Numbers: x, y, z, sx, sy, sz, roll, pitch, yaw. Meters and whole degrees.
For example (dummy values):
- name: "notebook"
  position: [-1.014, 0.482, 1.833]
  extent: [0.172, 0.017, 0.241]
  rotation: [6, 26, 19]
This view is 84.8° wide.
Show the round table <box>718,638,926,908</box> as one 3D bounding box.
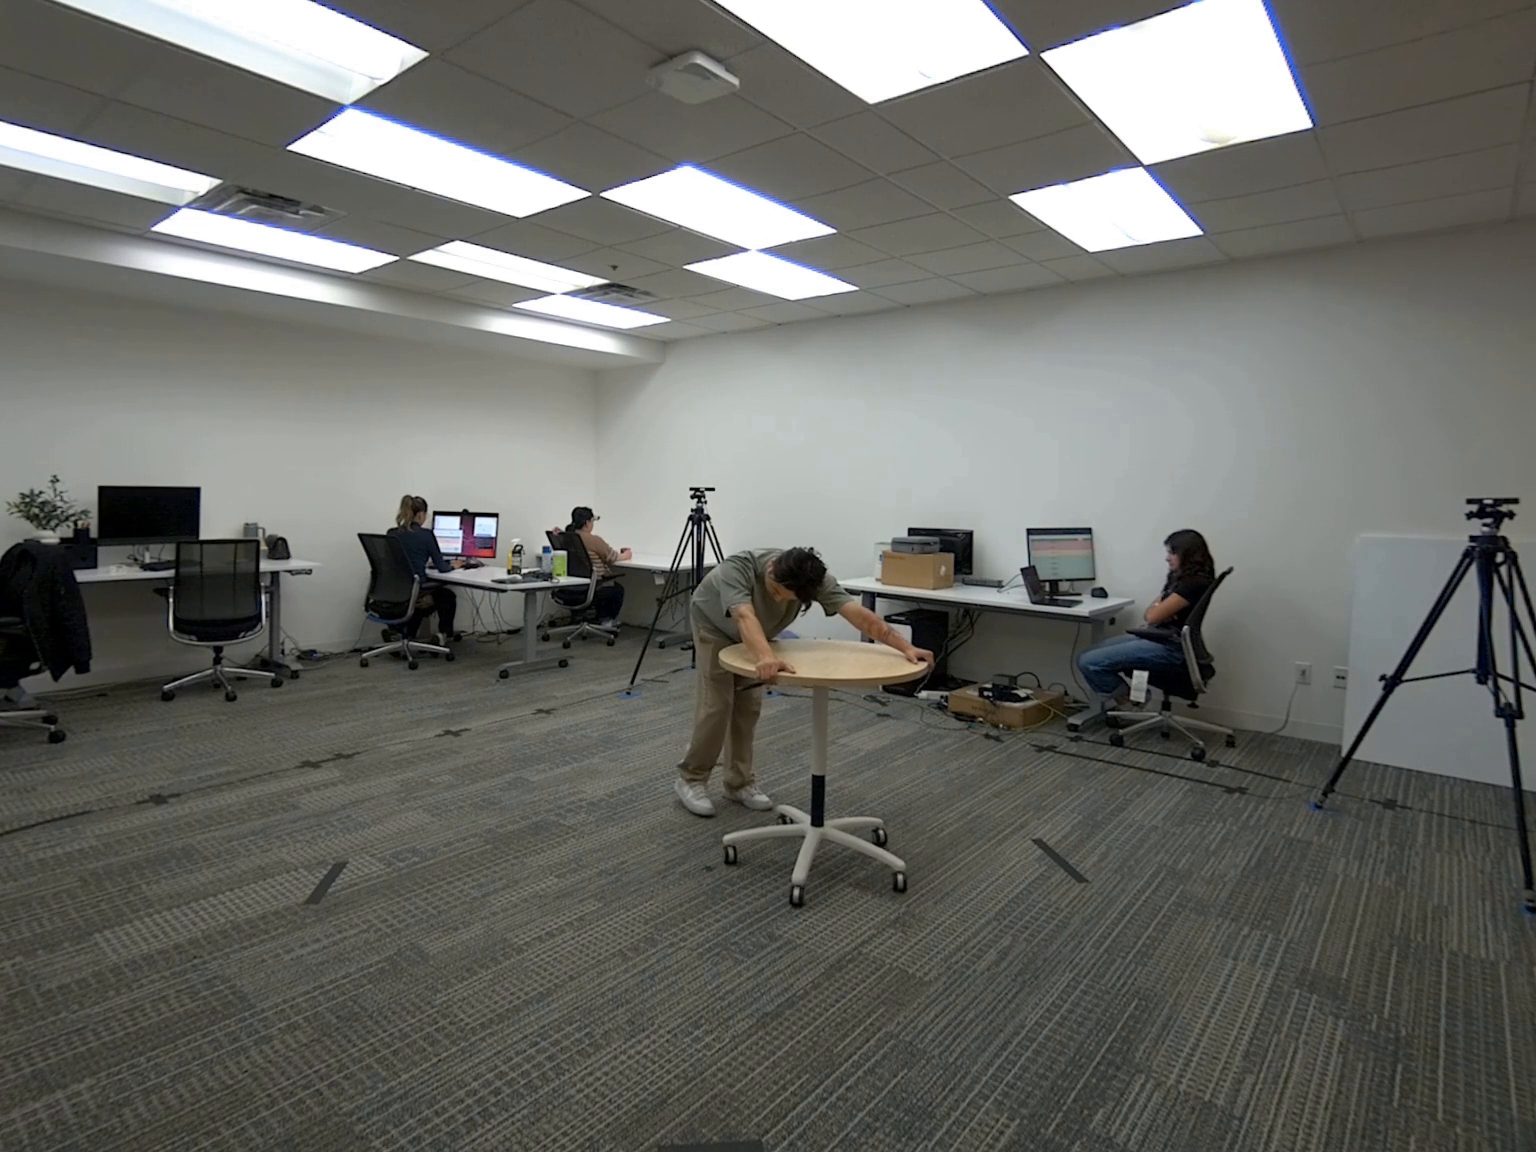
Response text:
- name: "round table"
  position: [0.197, 0.680, 3.168]
  extent: [0.784, 0.783, 0.789]
  rotation: [1, 5, -2]
